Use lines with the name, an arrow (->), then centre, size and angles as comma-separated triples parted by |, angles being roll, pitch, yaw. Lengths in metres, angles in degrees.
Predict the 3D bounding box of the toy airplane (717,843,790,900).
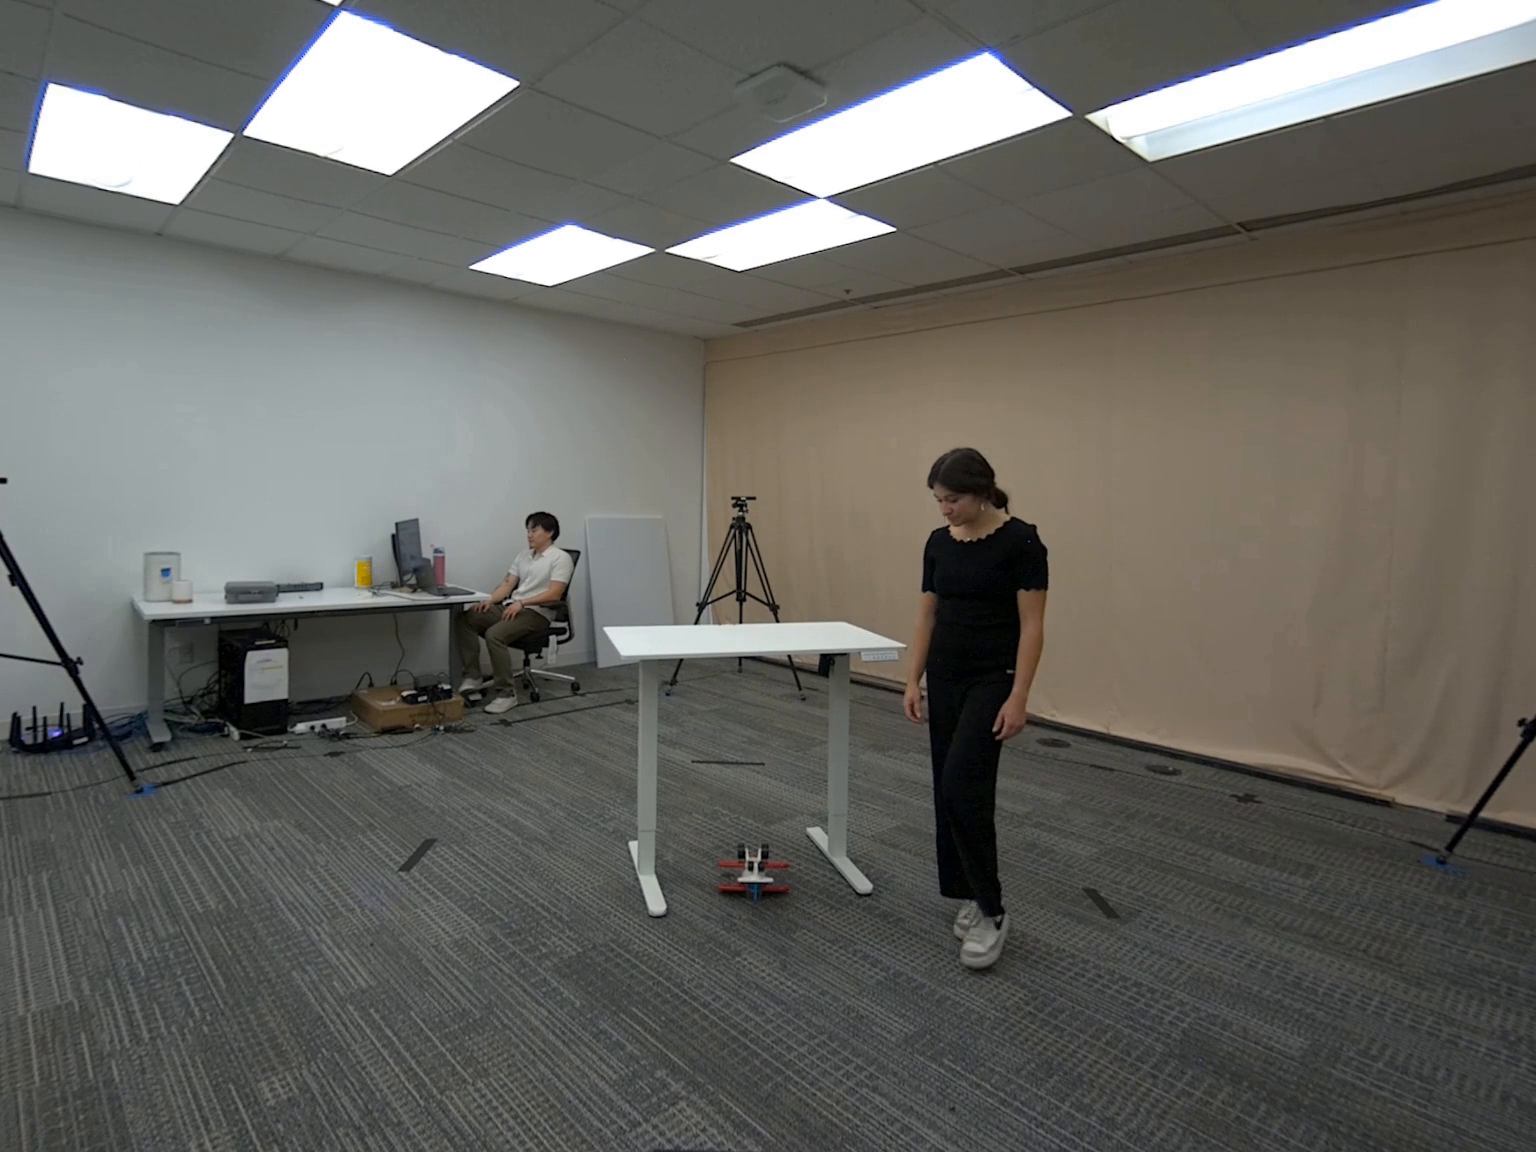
toy airplane -> -0.079, 1.043, 2.939 | 0.256, 0.156, 0.254 | 2, 1, 25
